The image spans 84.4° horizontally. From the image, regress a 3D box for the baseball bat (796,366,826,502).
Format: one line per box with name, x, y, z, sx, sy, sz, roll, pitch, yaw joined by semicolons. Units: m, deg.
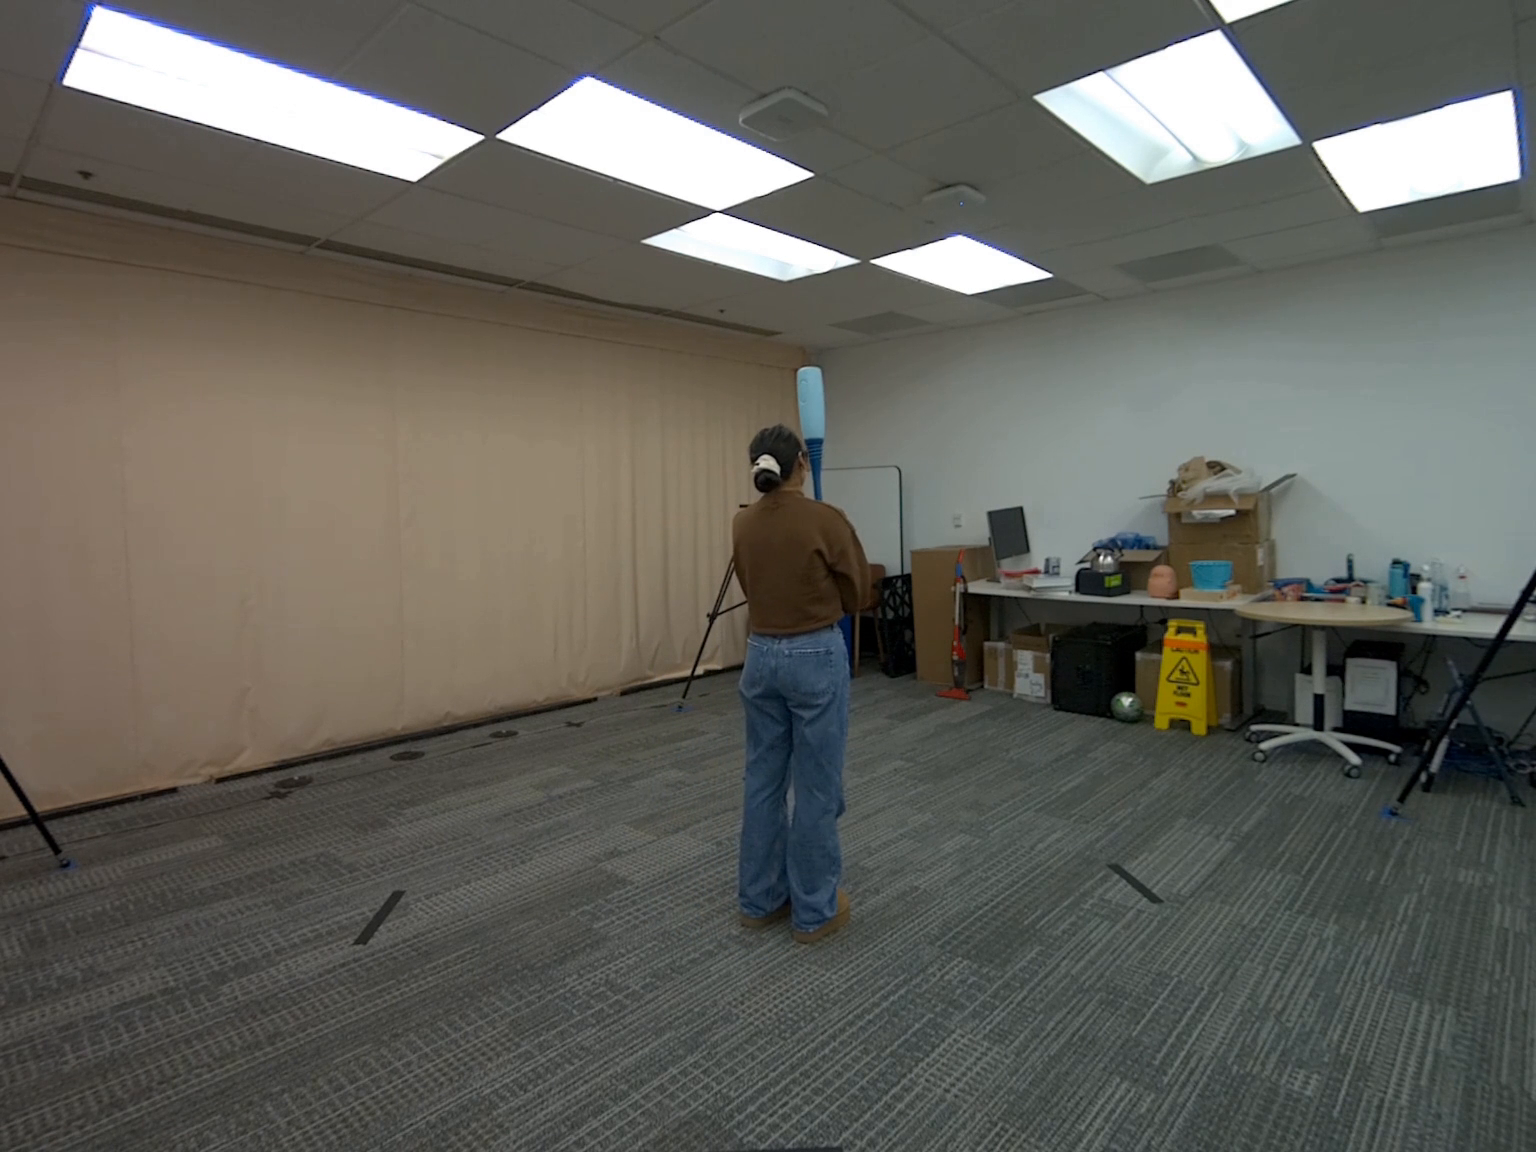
baseball bat;0.170;-0.451;2.892;0.089;0.545;0.089;-4;-5;-2
